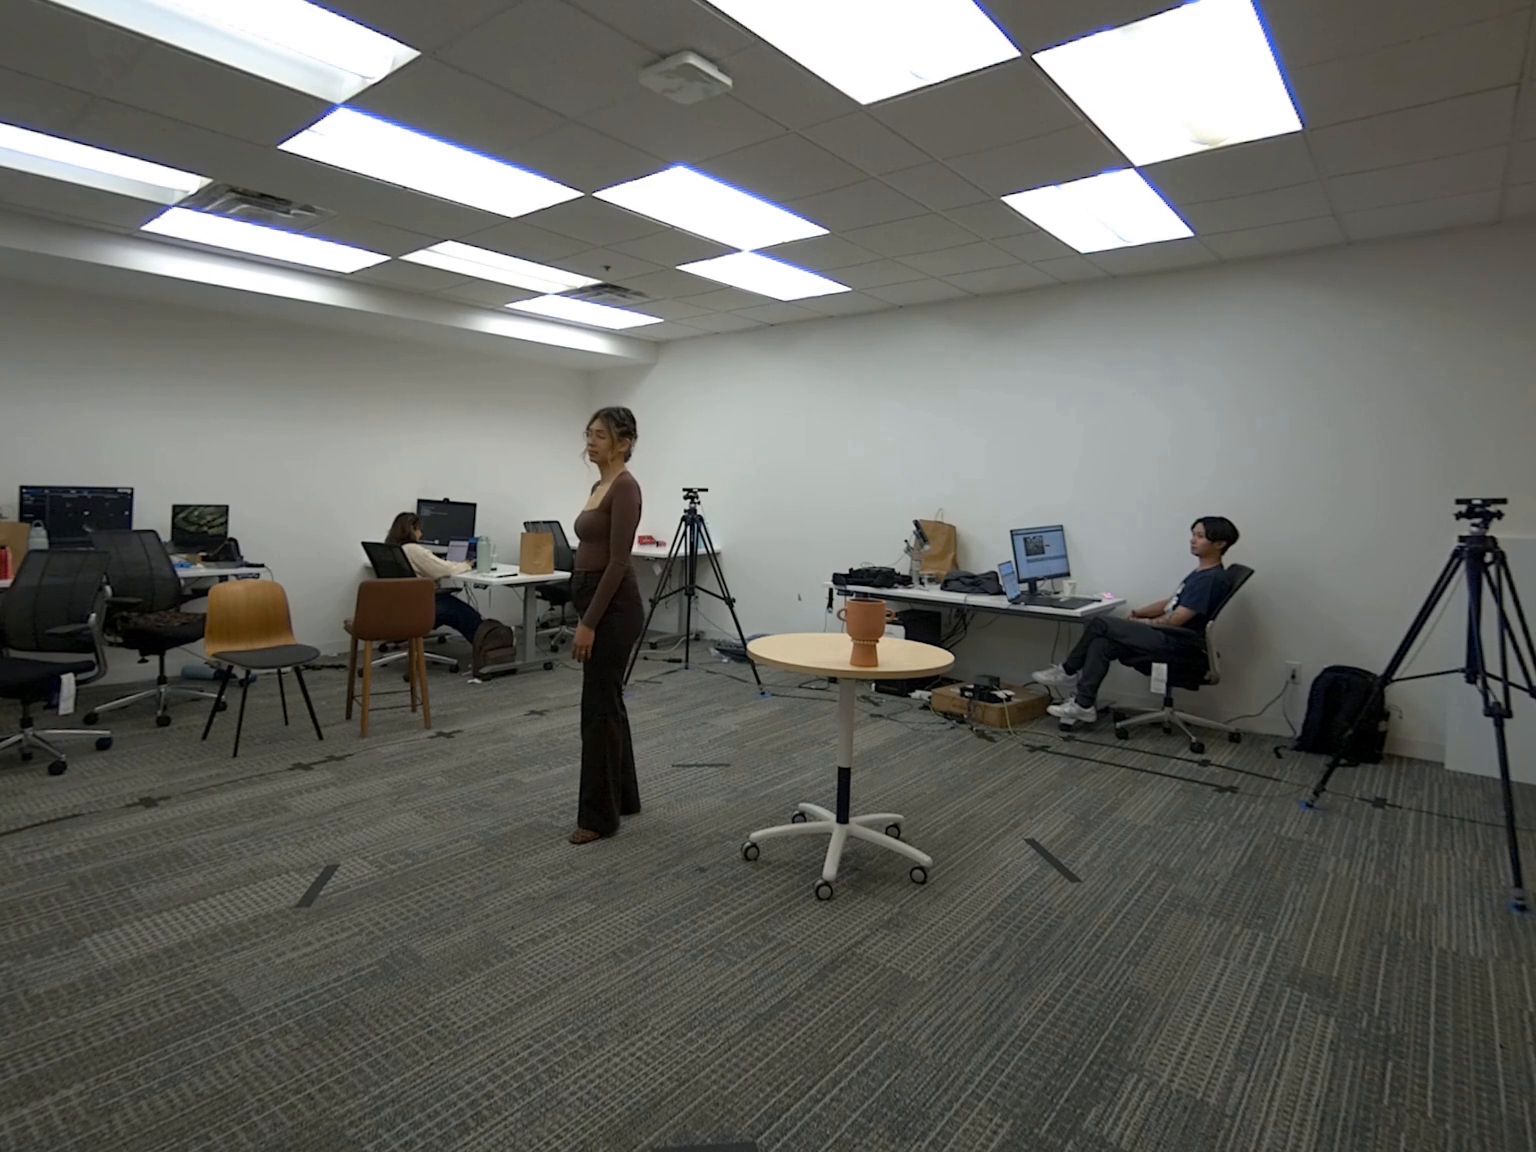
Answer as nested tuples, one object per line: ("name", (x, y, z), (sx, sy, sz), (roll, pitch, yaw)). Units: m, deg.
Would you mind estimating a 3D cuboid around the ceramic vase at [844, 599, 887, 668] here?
("ceramic vase", (0.323, 0.189, 2.916), (0.164, 0.219, 0.131), (4, 3, 35))
